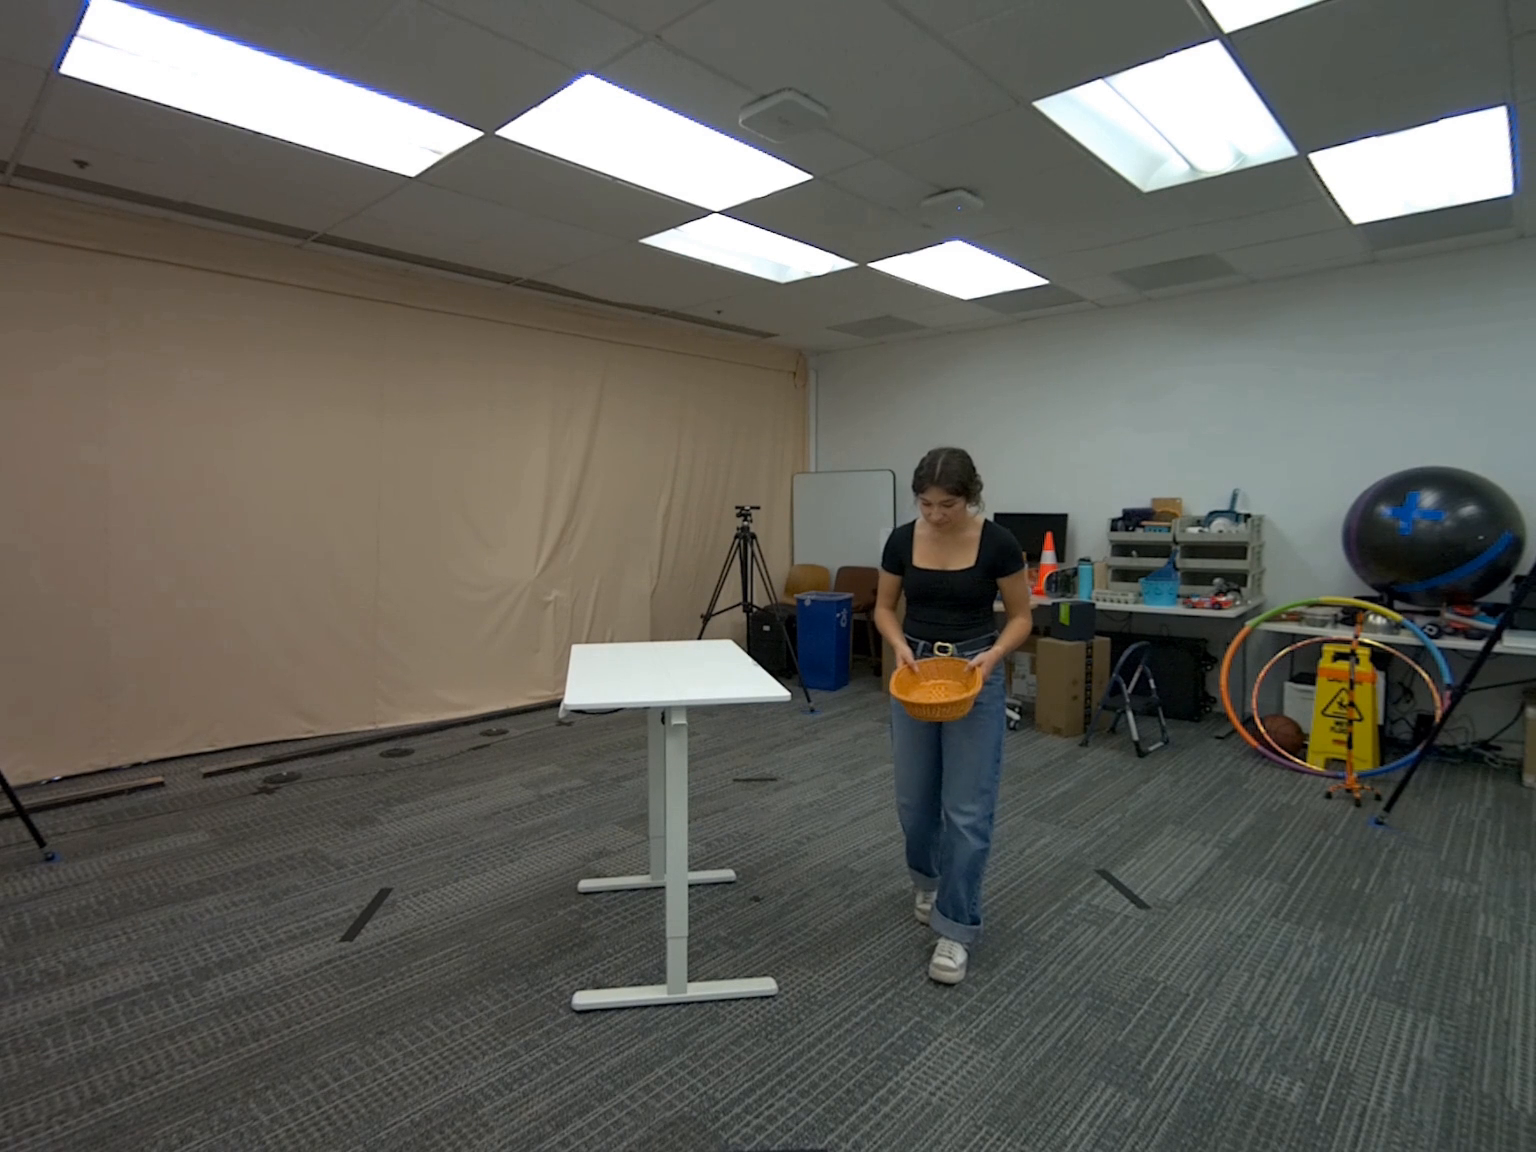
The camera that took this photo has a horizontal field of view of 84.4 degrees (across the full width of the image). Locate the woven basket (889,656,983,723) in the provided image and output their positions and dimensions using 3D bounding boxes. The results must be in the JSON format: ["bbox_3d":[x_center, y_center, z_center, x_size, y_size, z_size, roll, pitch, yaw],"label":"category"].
[{"bbox_3d":[0.470,0.322,2.366,0.255,0.073,0.349,-7,12,11],"label":"woven basket"}]
